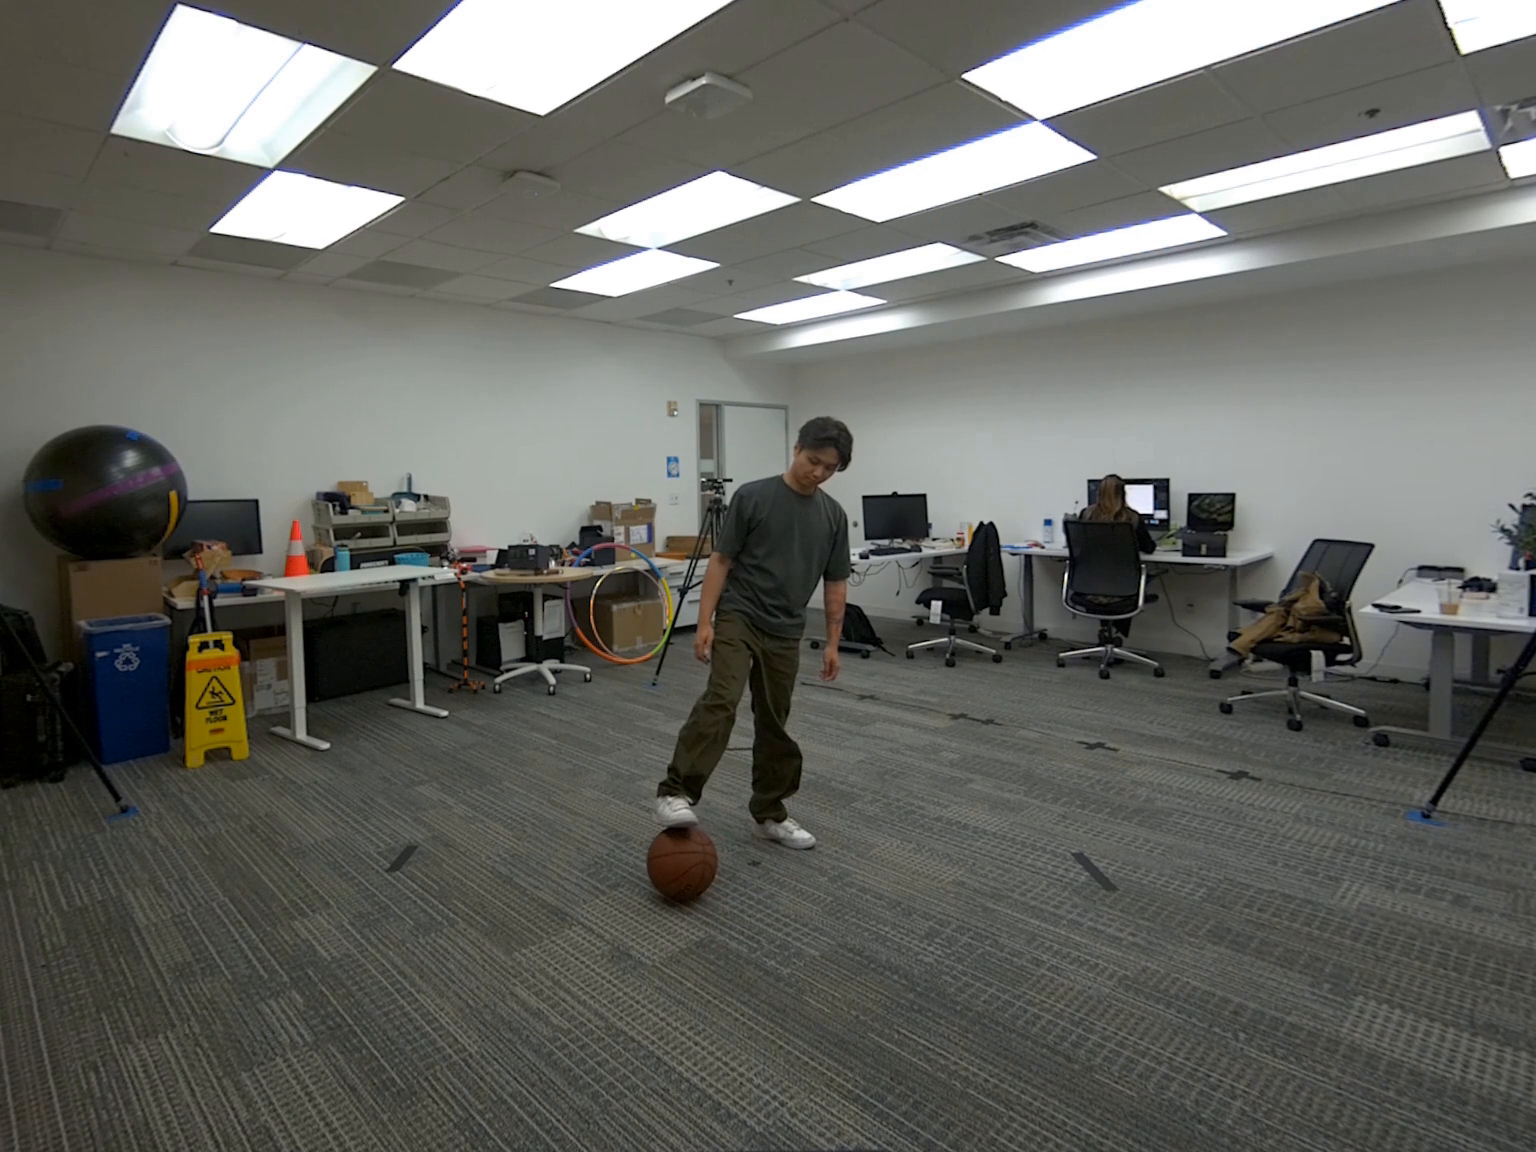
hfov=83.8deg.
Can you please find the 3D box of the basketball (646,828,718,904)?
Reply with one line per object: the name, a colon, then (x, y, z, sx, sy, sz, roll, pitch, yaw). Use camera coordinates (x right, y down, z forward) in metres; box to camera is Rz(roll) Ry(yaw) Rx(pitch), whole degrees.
basketball: (-0.285, 0.961, 2.862, 0.236, 0.235, 0.237, -1, 5, -2)
